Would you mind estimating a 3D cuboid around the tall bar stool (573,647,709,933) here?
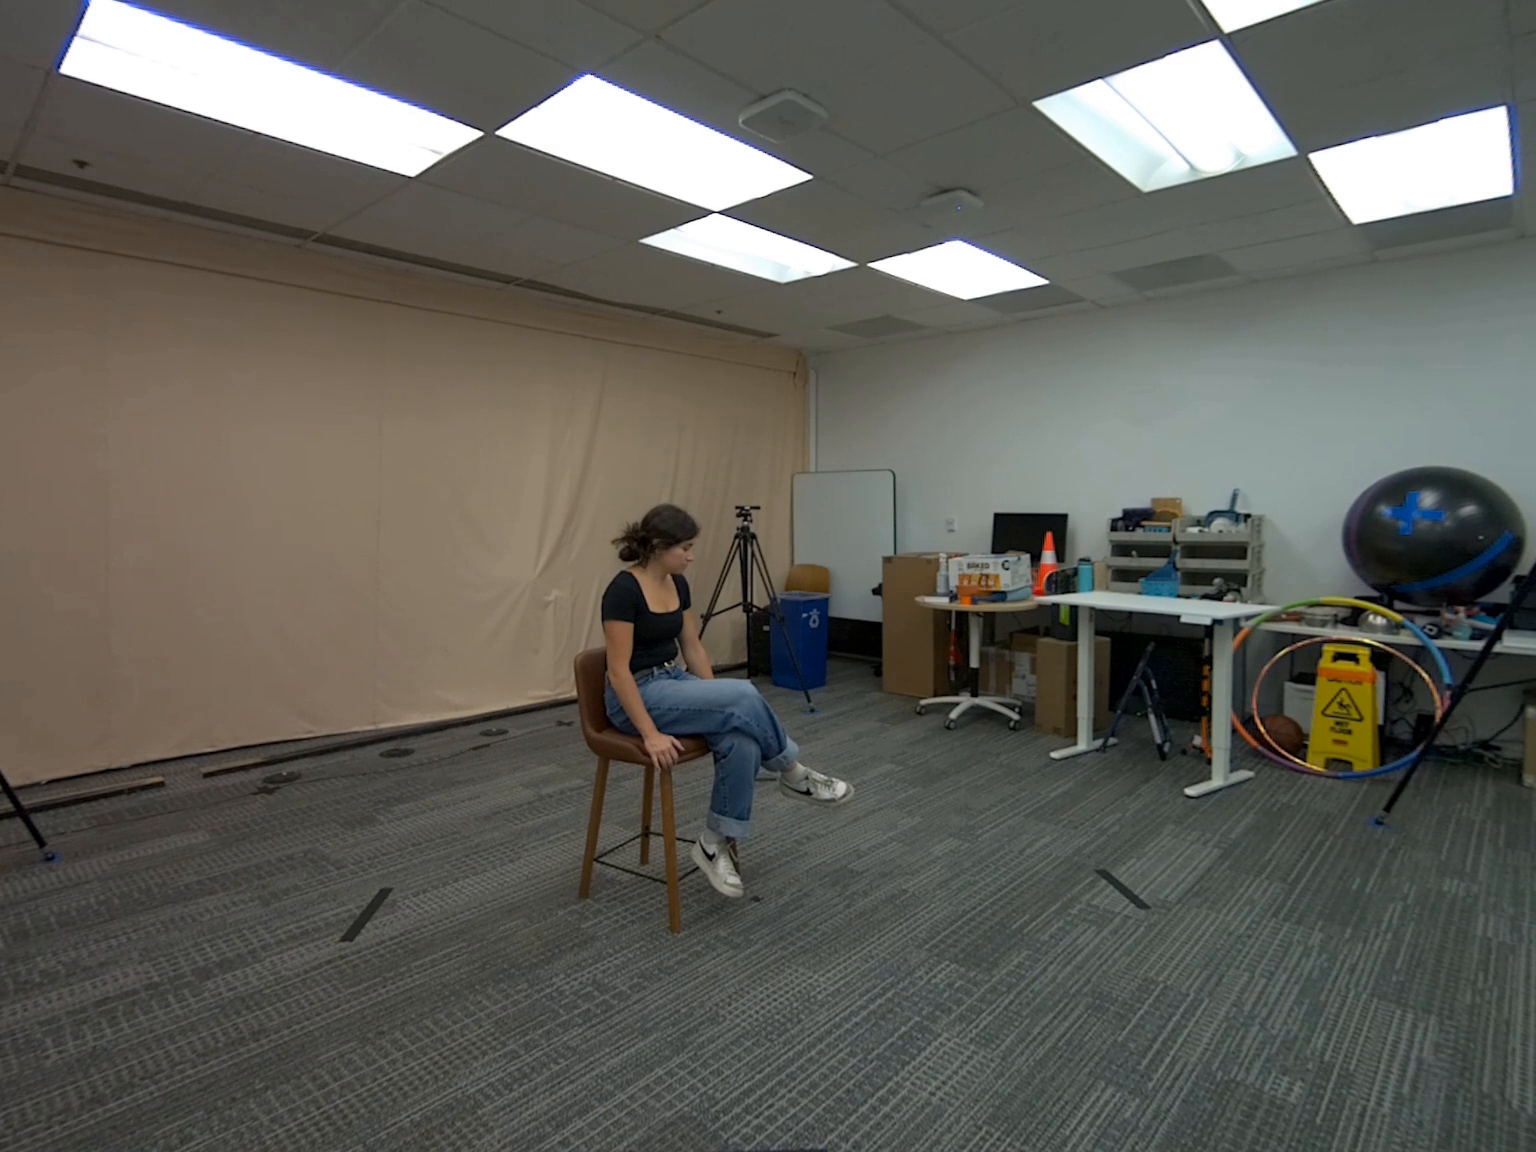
[{"bbox_3d":[-0.401,0.712,3.024,0.481,0.889,0.444,-1,2,32],"label":"tall bar stool"}]
